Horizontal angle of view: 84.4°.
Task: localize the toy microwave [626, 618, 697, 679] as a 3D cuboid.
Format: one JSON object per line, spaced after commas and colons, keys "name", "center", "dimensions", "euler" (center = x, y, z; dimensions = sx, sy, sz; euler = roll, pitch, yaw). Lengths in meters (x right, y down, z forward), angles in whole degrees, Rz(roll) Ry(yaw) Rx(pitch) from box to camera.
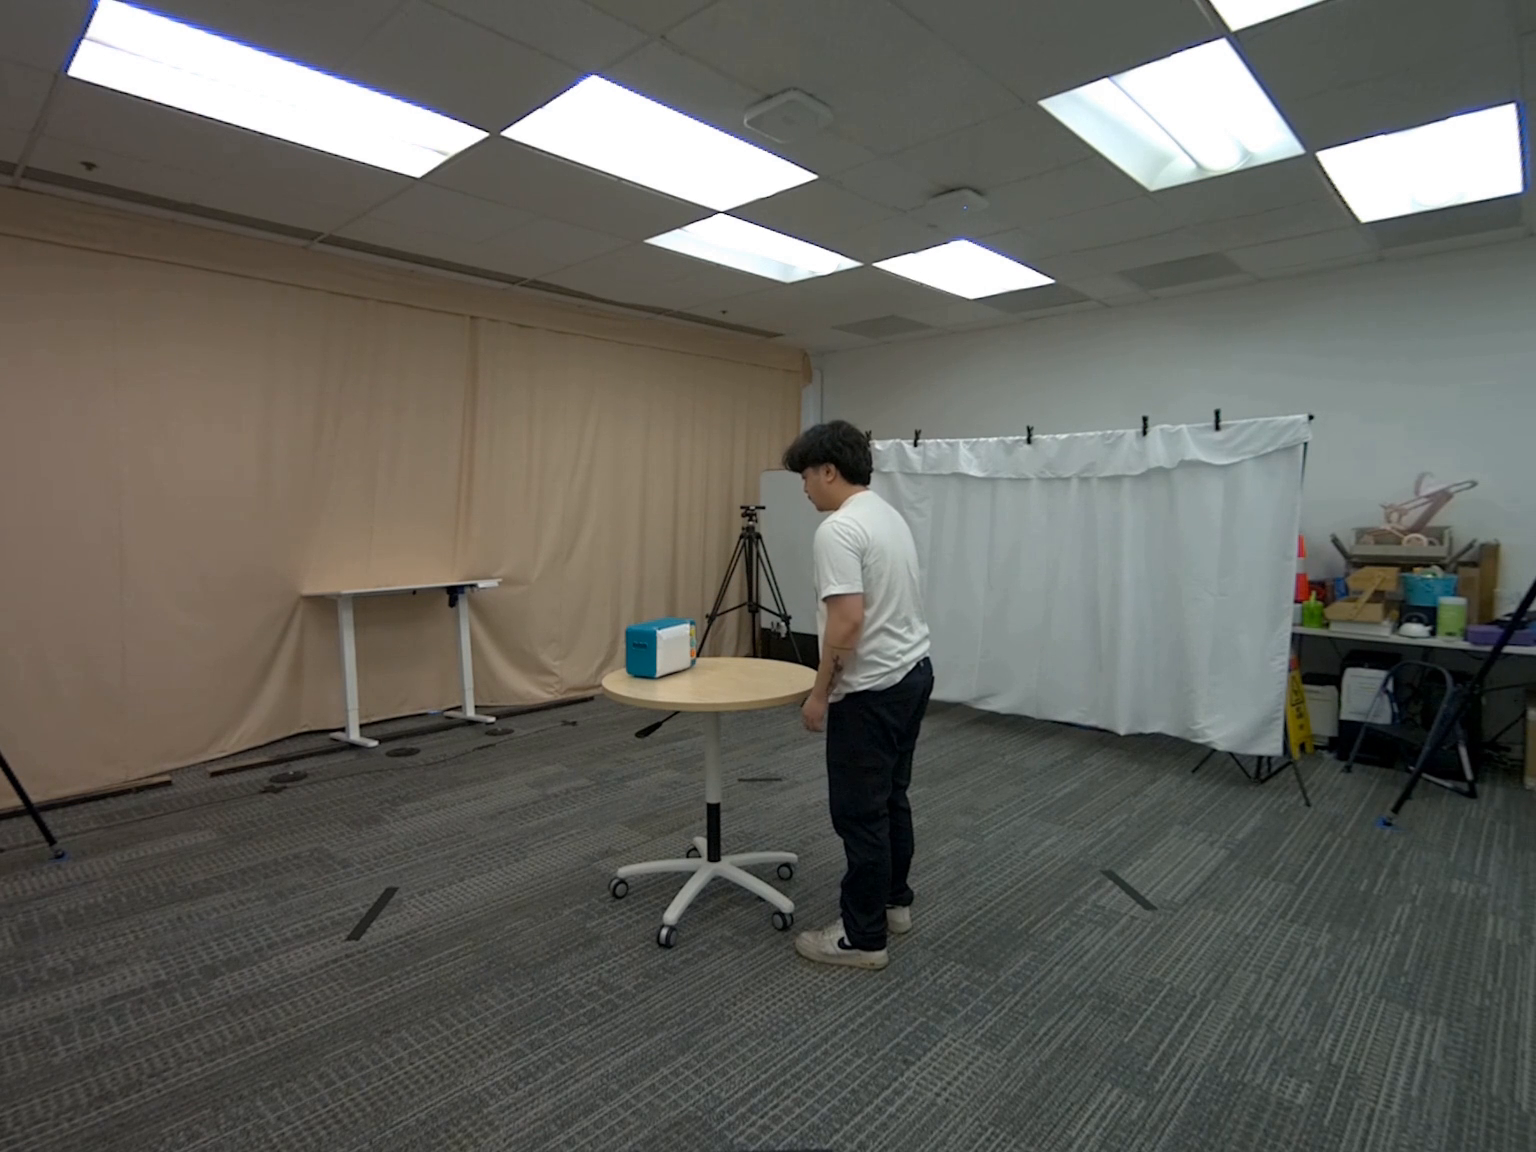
{"name": "toy microwave", "center": [-0.374, 0.258, 3.046], "dimensions": [0.157, 0.184, 0.279], "euler": [2, 5, 29]}
